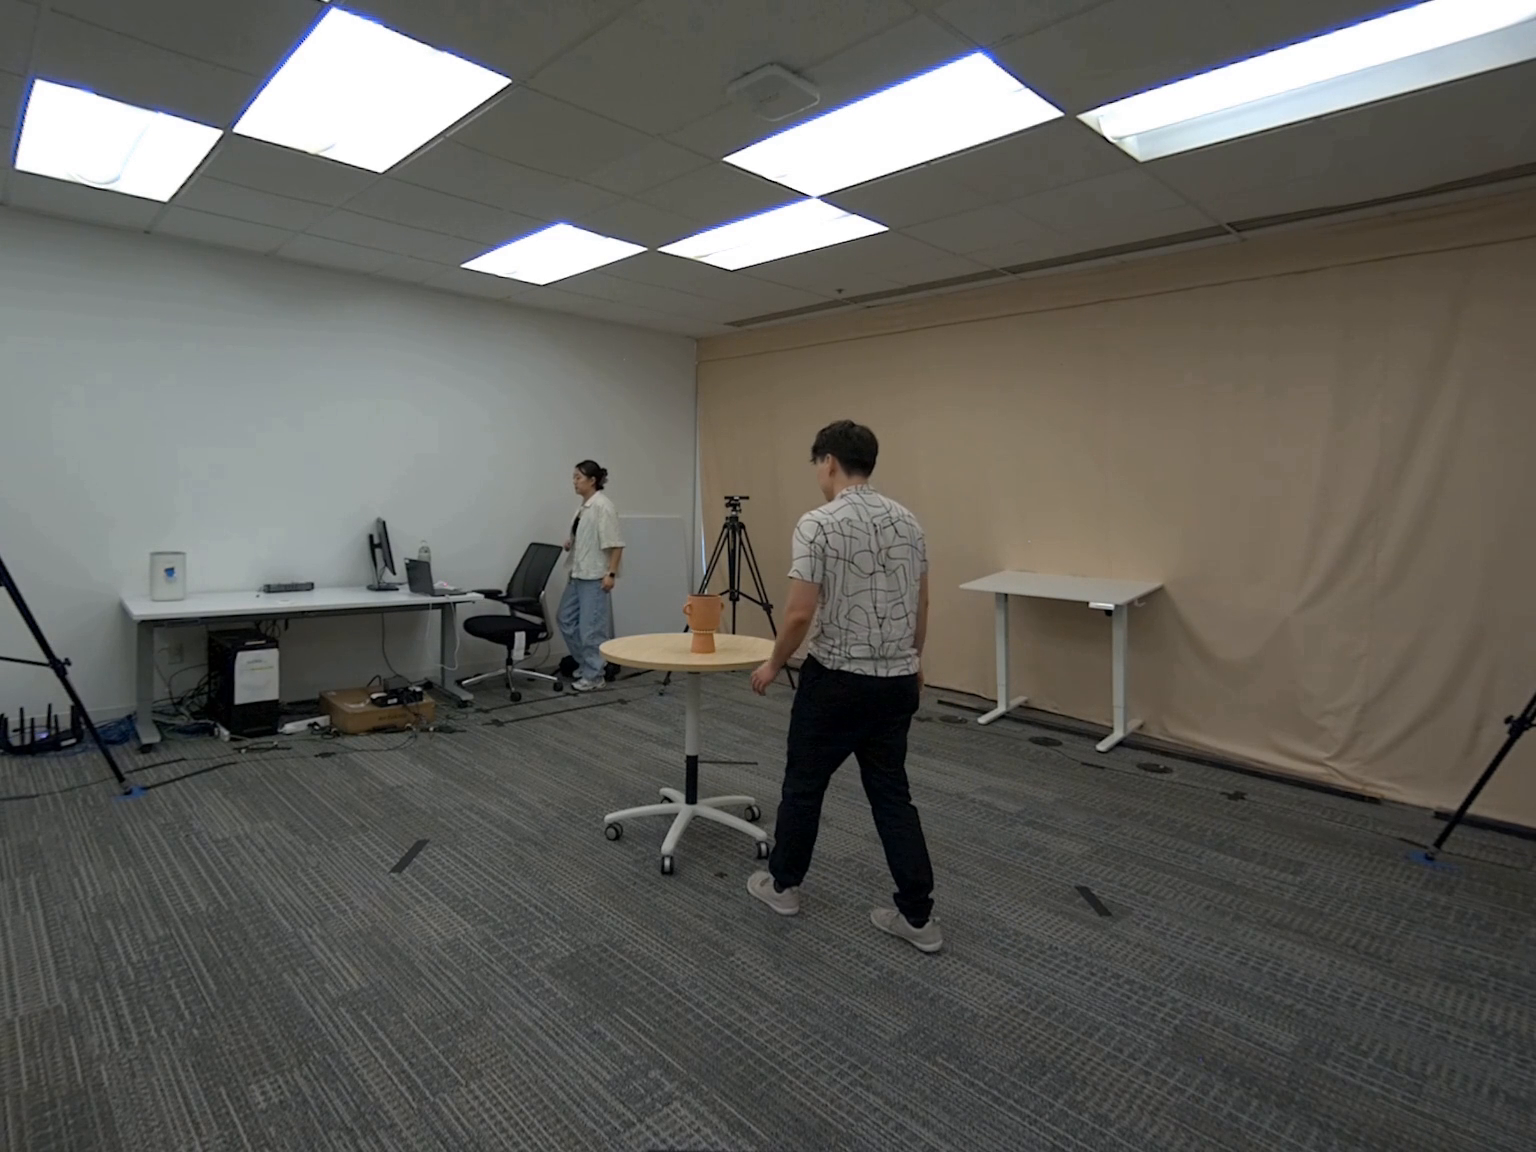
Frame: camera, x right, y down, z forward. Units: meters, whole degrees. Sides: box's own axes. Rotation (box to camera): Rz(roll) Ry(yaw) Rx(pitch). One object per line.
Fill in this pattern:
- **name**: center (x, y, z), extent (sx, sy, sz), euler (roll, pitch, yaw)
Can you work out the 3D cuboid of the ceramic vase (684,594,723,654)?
- **ceramic vase**: center (-0.262, 0.188, 3.309), extent (0.159, 0.219, 0.135), euler (0, 4, -1)
